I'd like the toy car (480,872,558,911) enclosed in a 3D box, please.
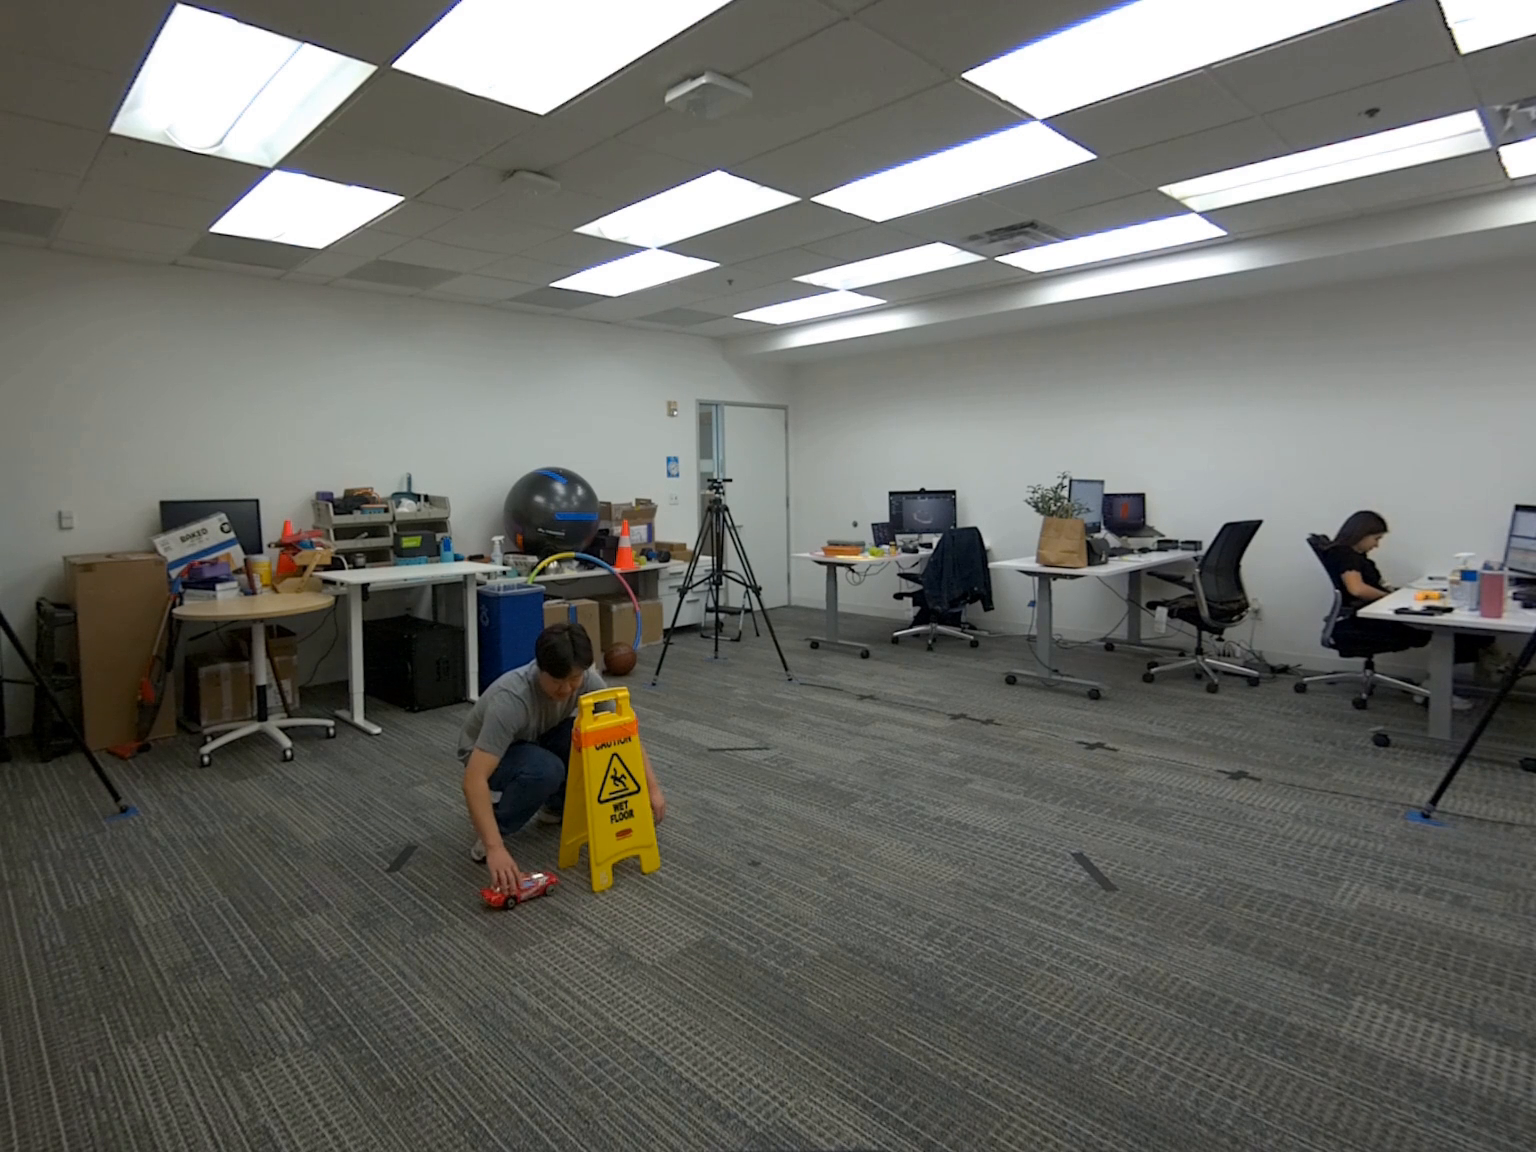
[{"bbox_3d":[-0.830,1.060,2.889,0.246,0.083,0.134,7,-1,-40],"label":"toy car"}]
